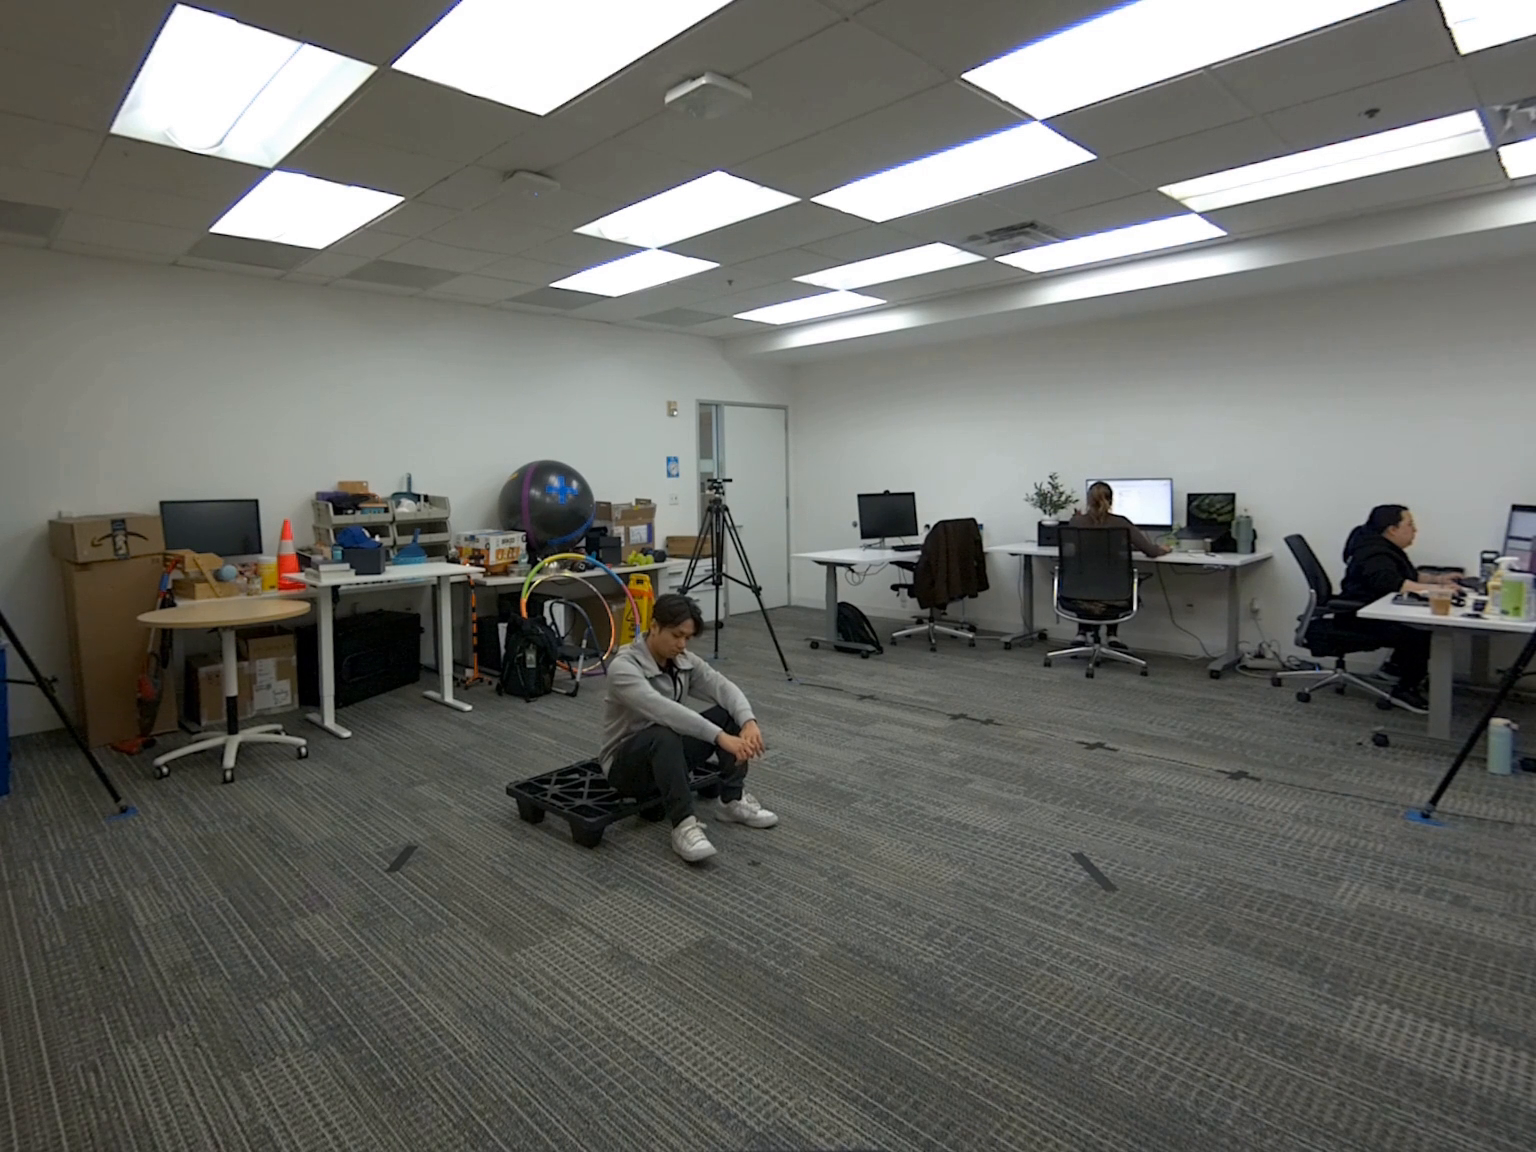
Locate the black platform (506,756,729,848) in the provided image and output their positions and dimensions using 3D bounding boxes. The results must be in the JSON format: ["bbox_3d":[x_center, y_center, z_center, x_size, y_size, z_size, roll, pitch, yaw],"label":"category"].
[{"bbox_3d":[-0.615,0.925,3.671,0.624,0.143,0.785,5,8,41],"label":"black platform"}]
